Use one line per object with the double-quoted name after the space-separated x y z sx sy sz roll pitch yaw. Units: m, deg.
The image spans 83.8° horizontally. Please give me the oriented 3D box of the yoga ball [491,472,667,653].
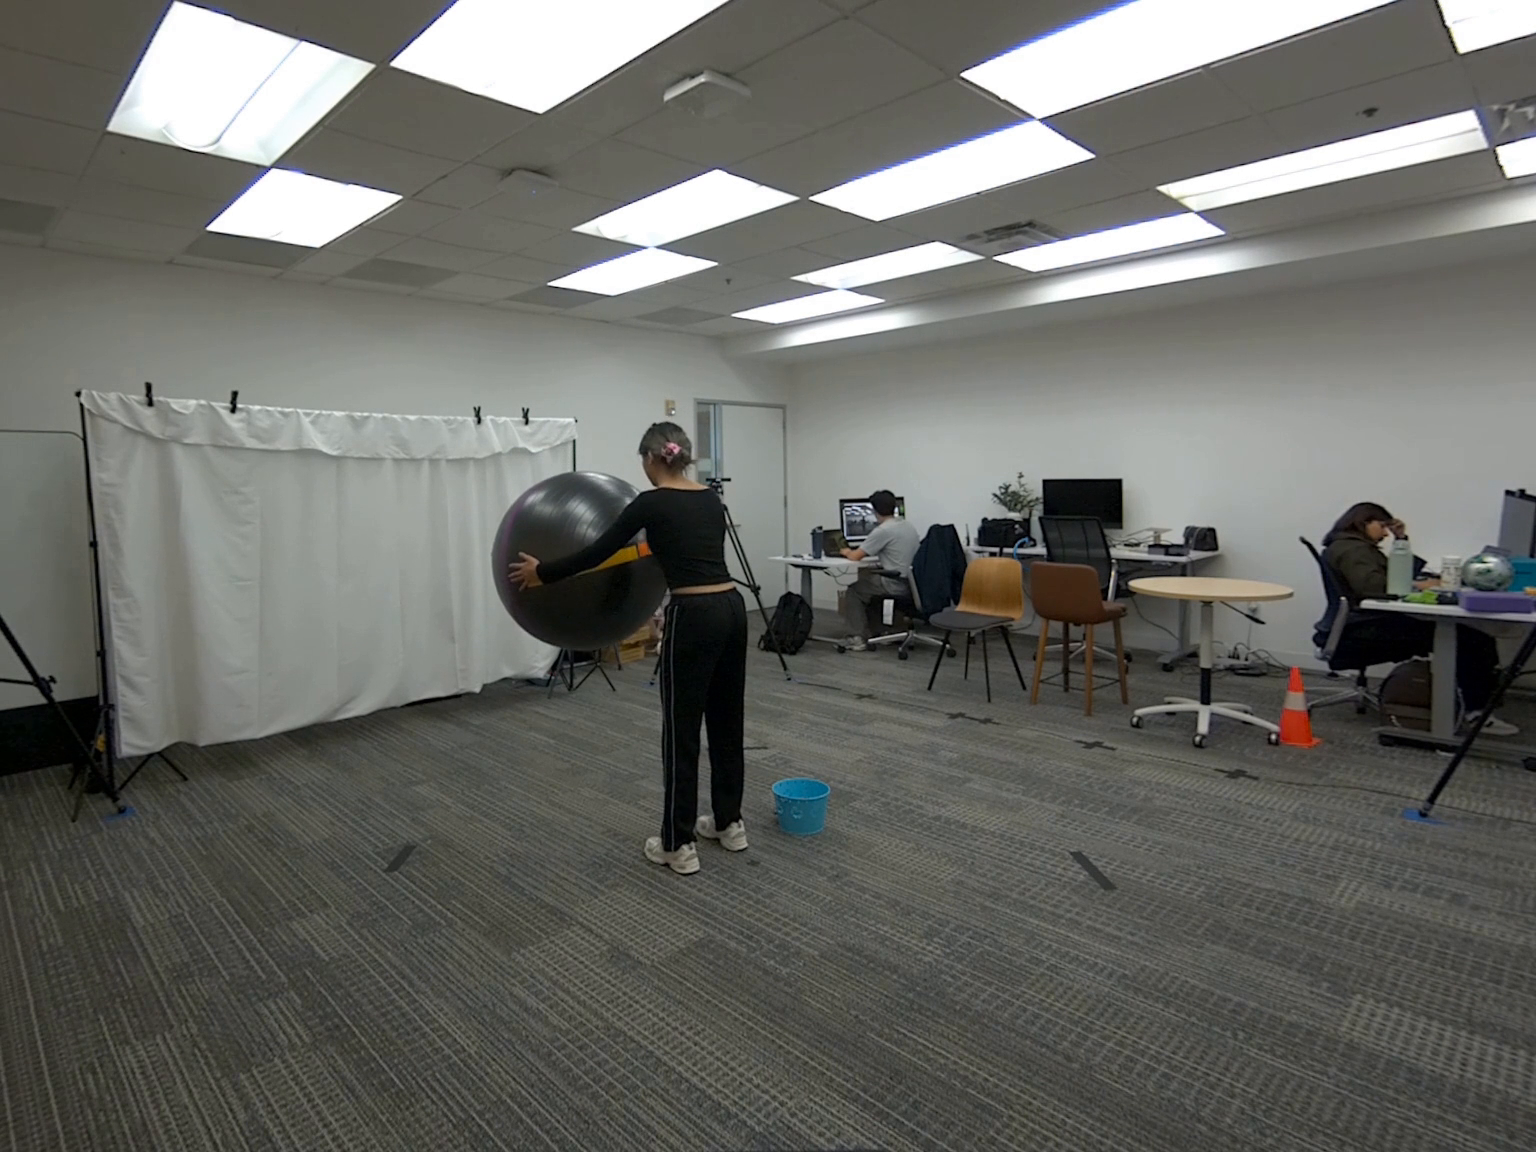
-0.784 -0.061 3.636 0.757 0.755 0.762 -1 5 -2 "yoga ball"
